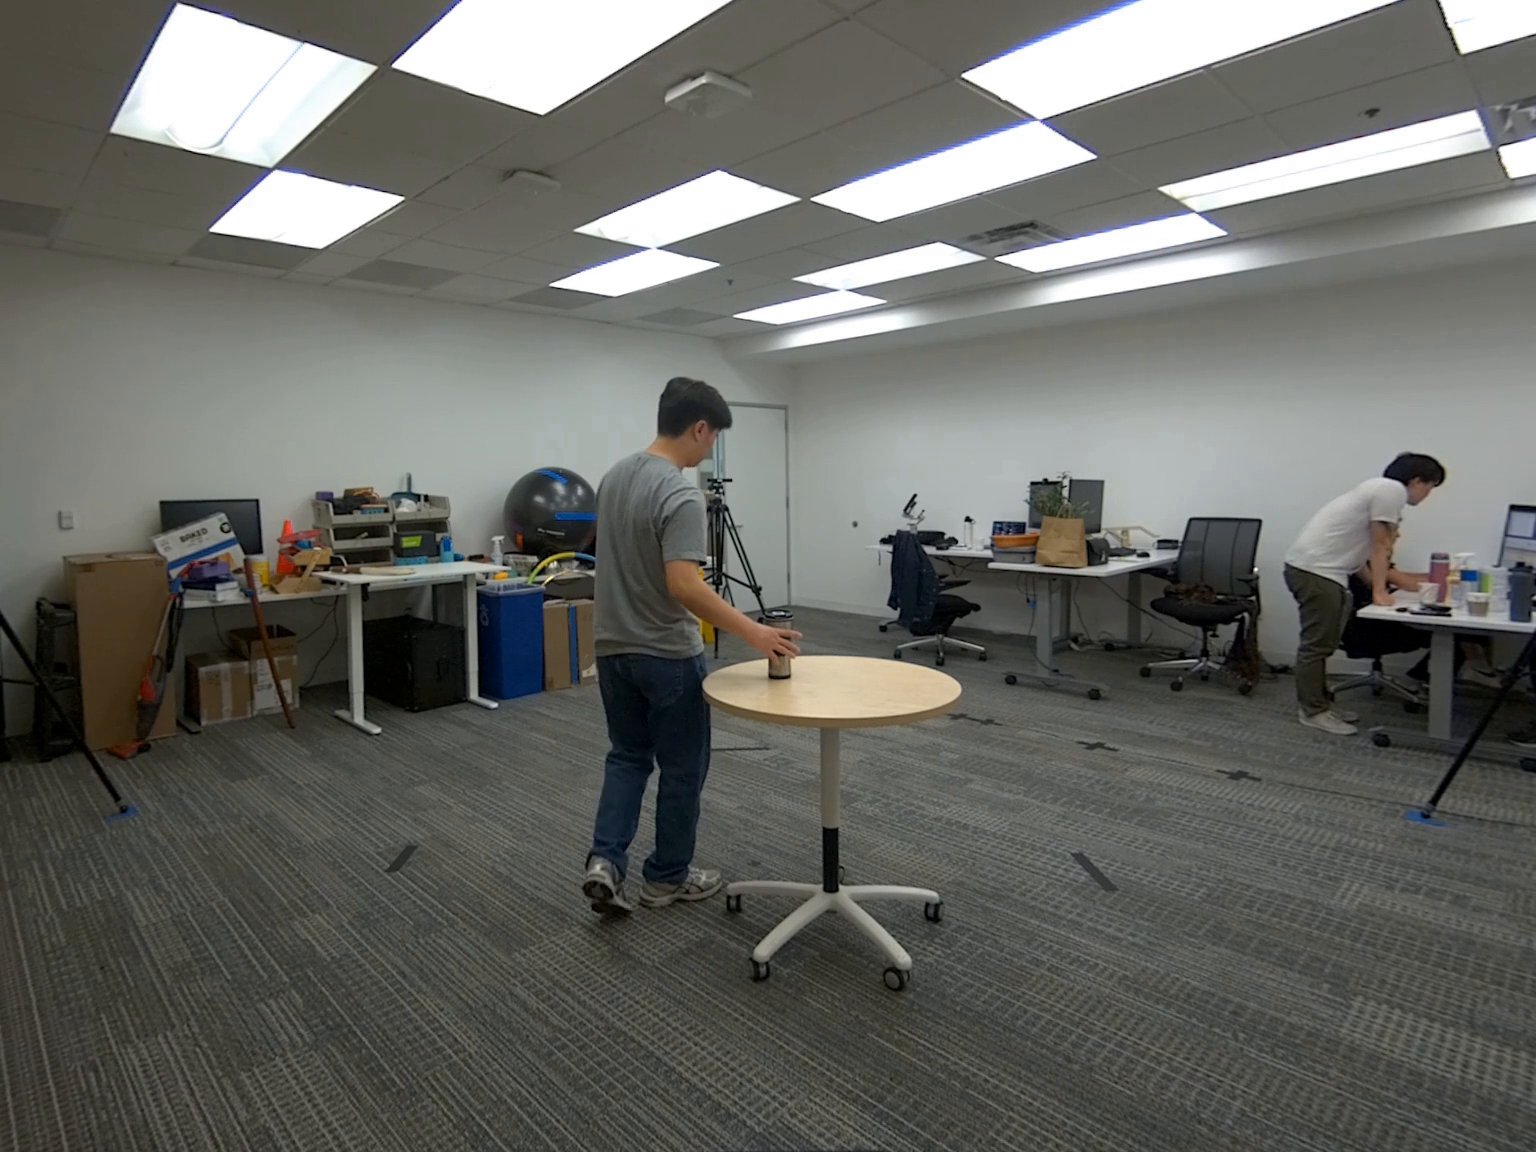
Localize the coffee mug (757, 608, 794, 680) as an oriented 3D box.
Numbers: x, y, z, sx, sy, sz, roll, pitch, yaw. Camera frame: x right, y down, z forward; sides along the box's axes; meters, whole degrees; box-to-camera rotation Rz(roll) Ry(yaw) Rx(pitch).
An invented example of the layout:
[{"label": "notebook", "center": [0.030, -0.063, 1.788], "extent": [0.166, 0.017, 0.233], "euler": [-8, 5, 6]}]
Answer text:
[{"label": "coffee mug", "center": [0.028, 0.214, 2.662], "extent": [0.086, 0.202, 0.124], "euler": [-5, 5, -18]}]
